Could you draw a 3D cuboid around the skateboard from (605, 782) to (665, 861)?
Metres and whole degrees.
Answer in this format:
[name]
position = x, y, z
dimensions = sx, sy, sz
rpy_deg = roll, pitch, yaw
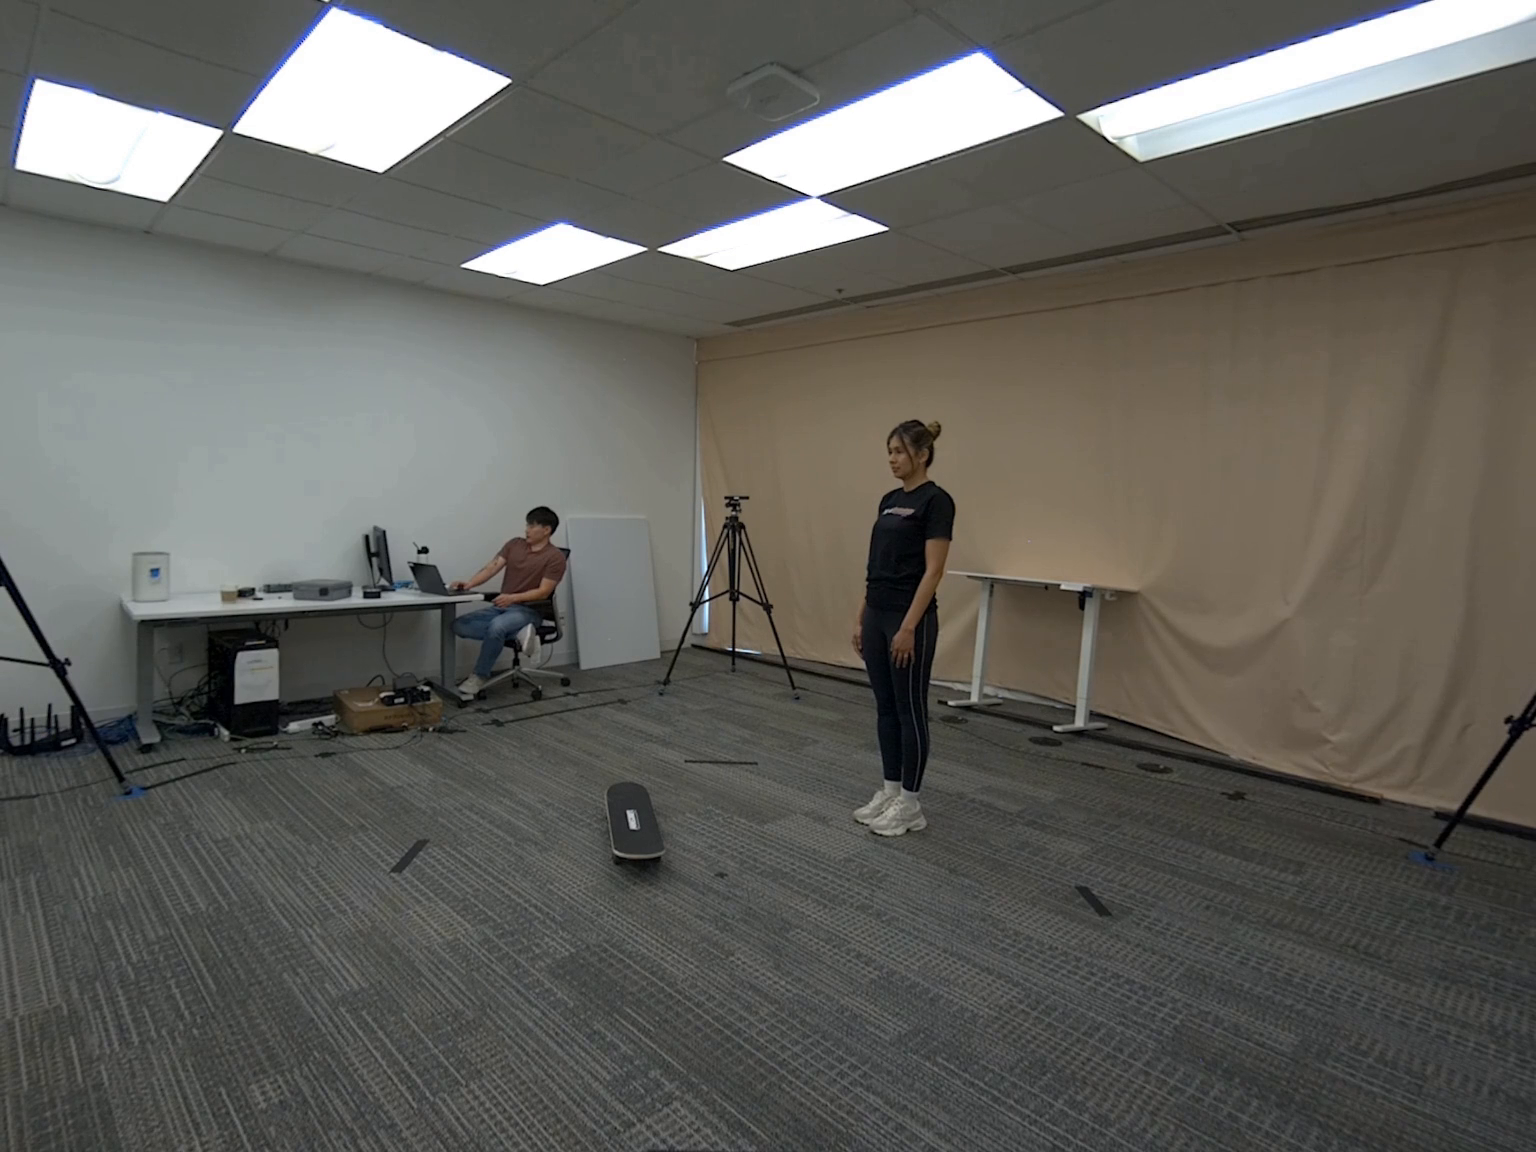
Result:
[skateboard]
position = -0.553, 1.011, 3.386
dimensions = 0.191, 0.110, 0.795
rpy_deg = 0, 6, -13
